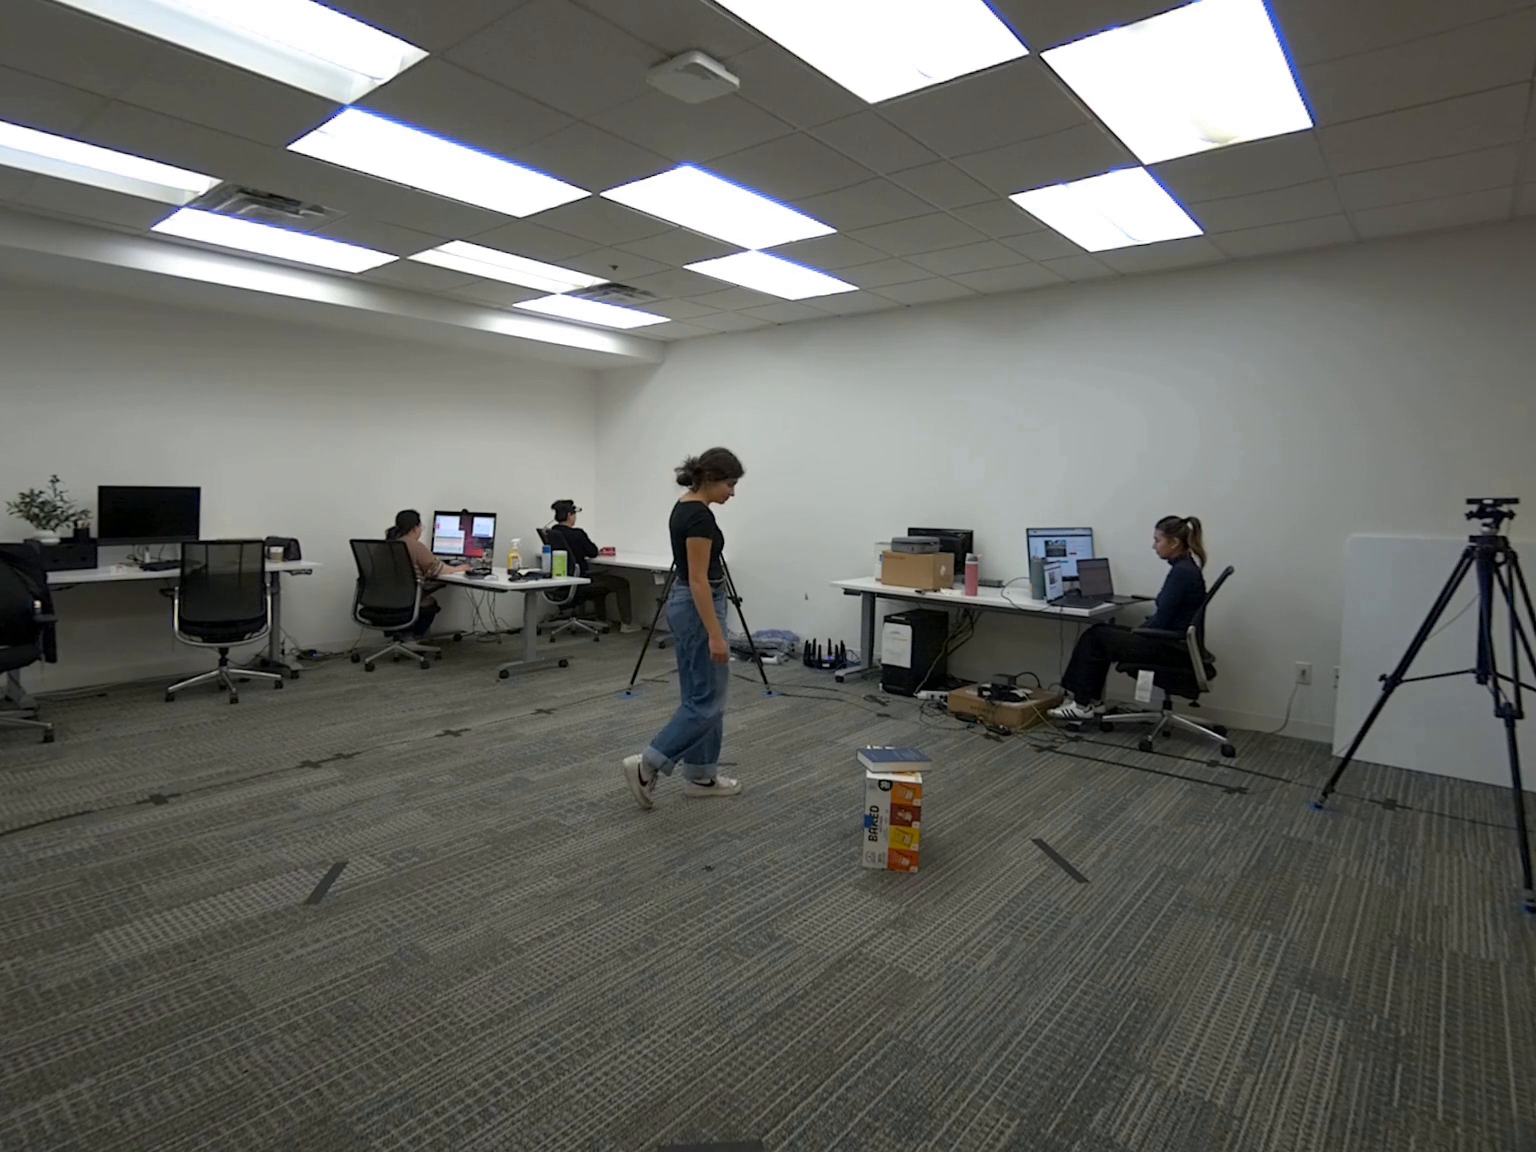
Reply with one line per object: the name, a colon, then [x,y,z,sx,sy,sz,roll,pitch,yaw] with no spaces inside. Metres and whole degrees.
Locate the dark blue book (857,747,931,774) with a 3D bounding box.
dark blue book: [0.487,0.703,3.279,0.241,0.045,0.166,0,6,-14]
